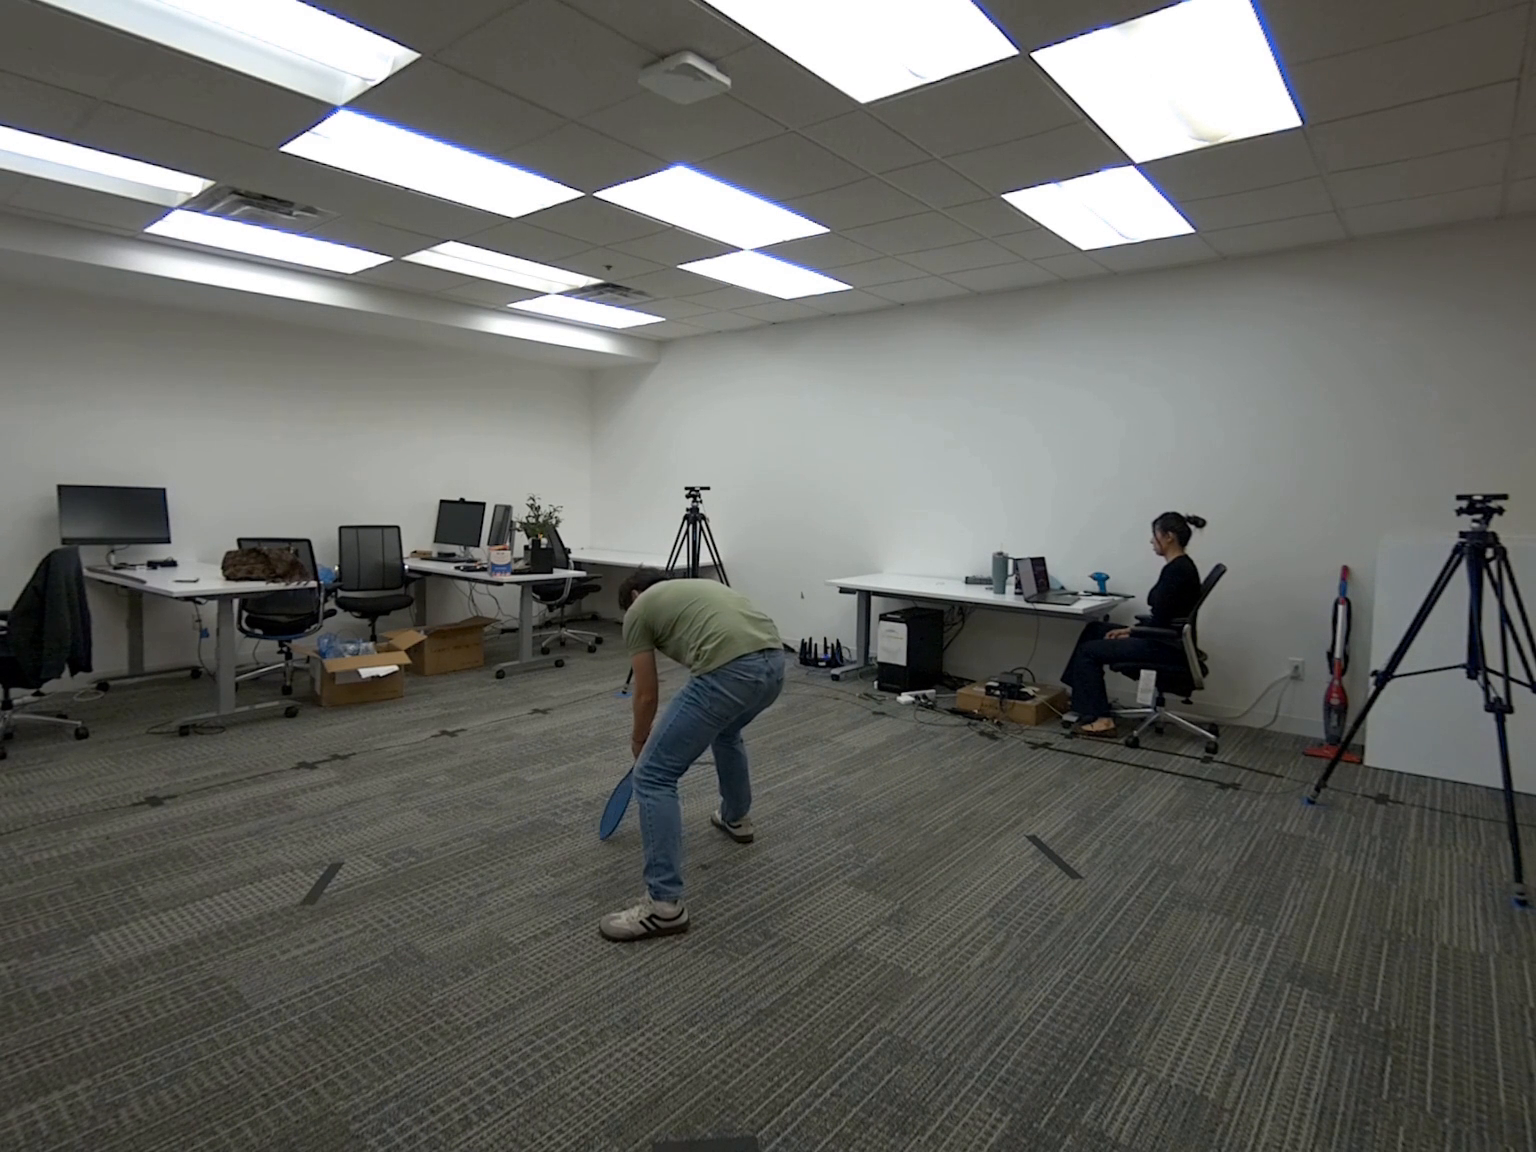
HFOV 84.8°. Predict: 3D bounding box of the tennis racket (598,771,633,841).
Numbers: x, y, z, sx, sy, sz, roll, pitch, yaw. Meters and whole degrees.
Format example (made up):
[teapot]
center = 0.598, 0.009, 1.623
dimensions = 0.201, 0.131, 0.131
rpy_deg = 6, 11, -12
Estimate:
[tennis racket]
center = -0.582, 0.840, 3.403
dimensions = 0.031, 0.434, 0.218
rpy_deg = 28, -8, -21
